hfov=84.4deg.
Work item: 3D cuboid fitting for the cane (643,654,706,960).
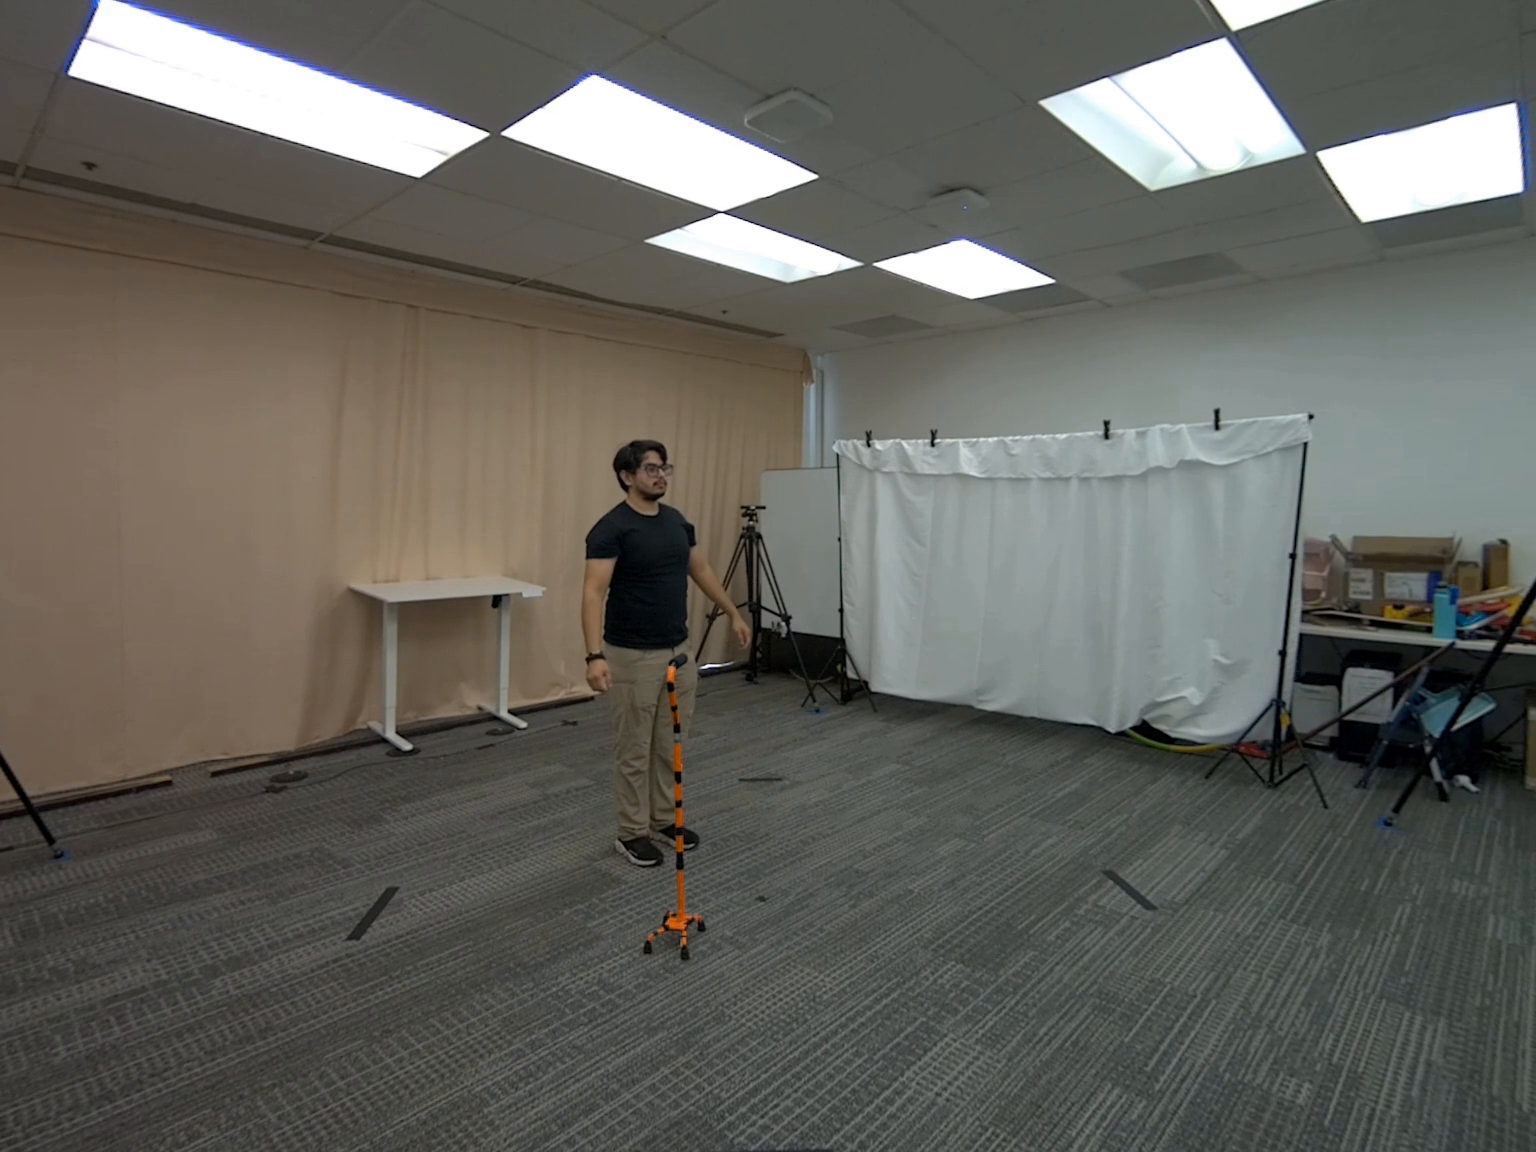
[{"bbox_3d":[-0.299,0.724,2.666,0.154,0.906,0.204,0,3,13],"label":"cane"}]
